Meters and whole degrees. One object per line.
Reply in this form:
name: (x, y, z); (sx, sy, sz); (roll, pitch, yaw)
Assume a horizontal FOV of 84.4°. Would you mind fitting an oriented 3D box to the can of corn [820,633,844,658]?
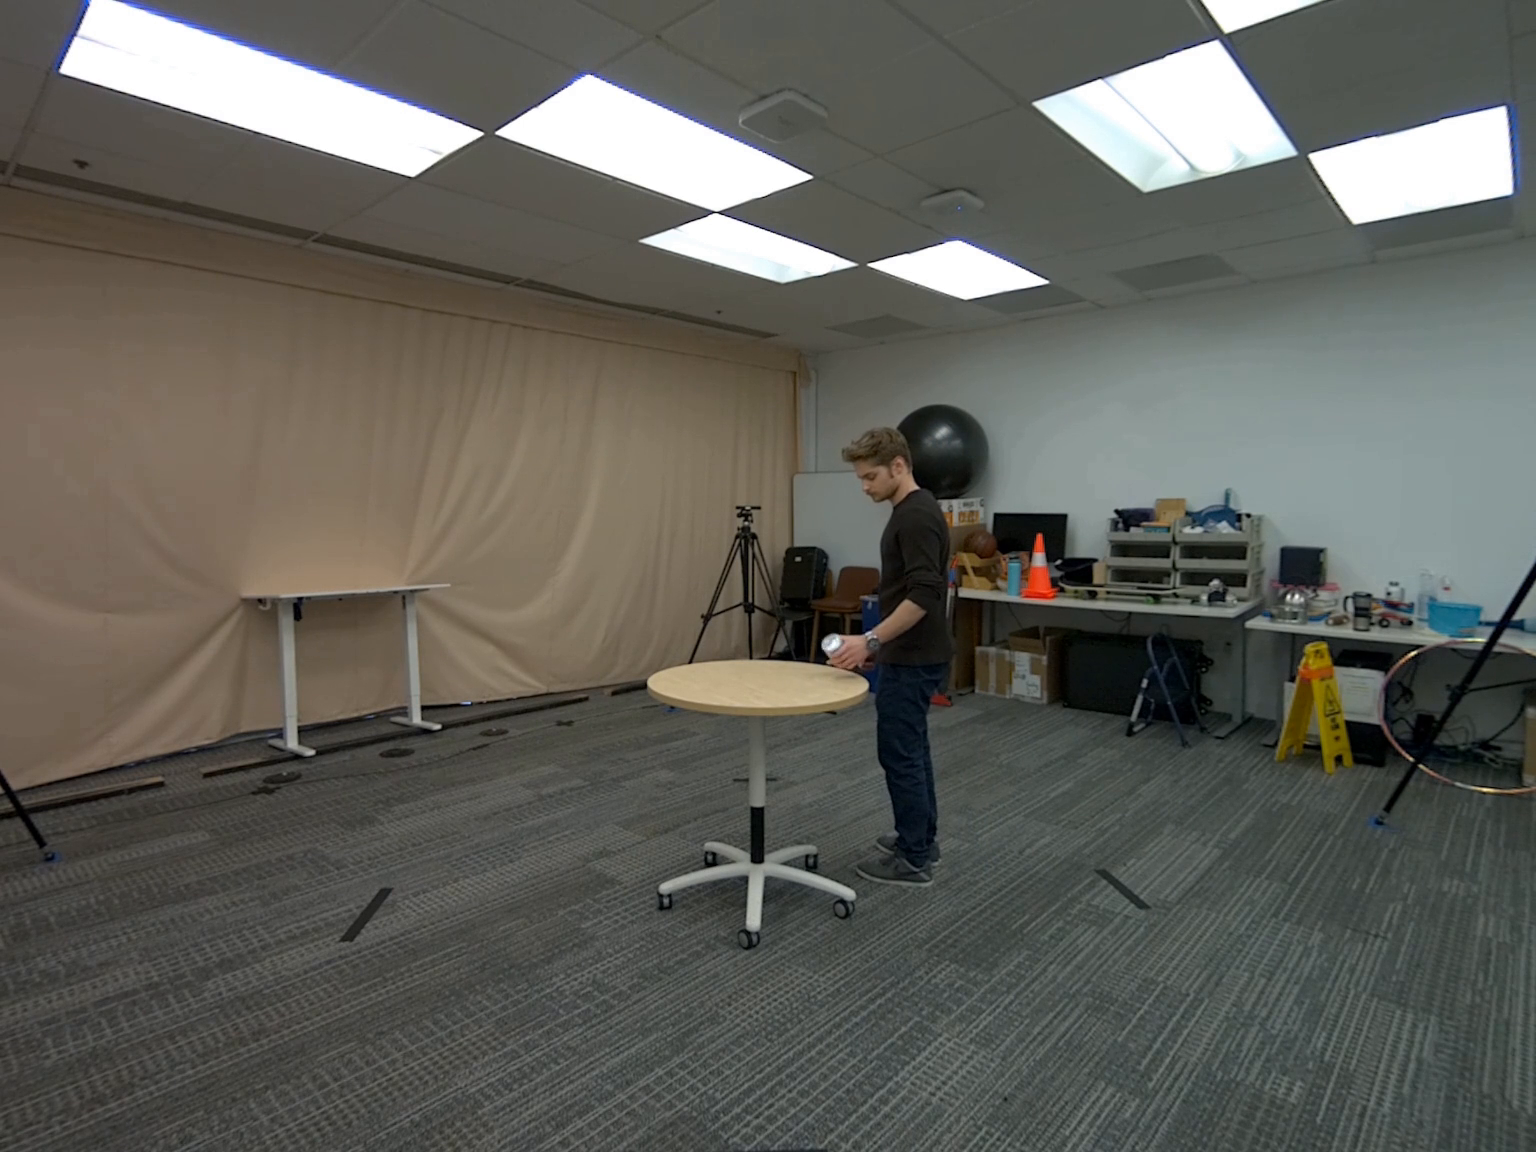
can of corn: (0.254, 0.271, 2.969); (0.075, 0.108, 0.075); (-23, 36, 15)
